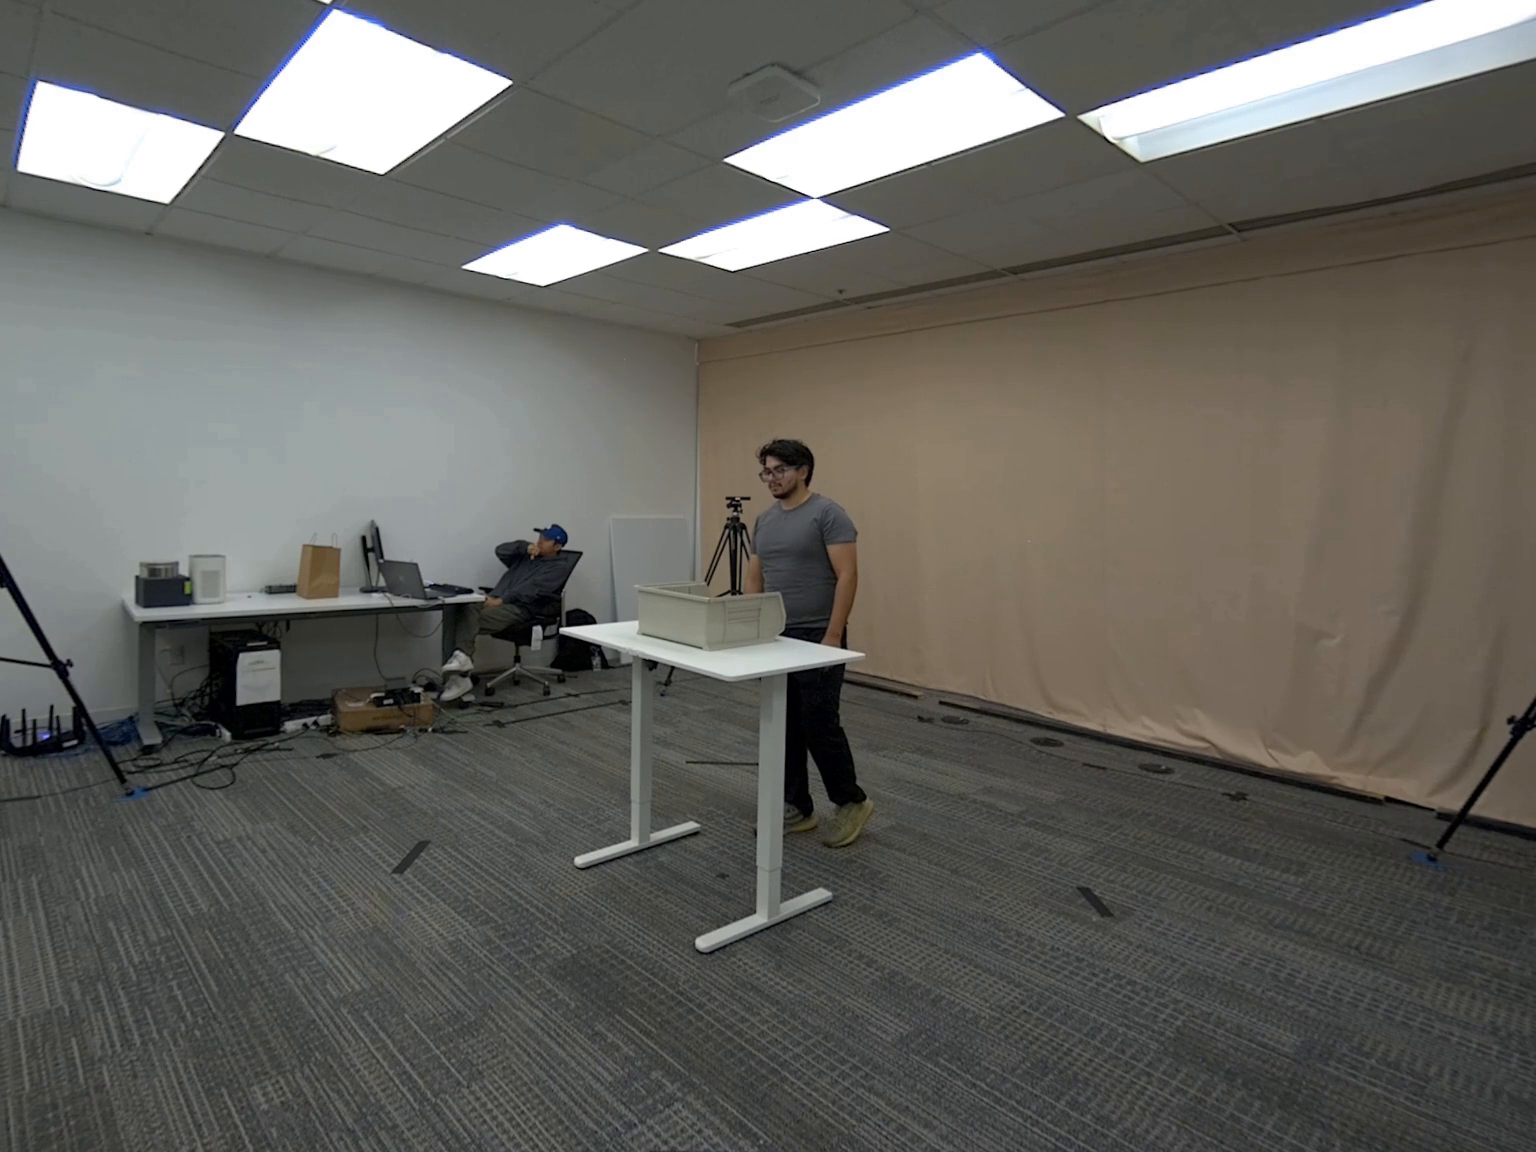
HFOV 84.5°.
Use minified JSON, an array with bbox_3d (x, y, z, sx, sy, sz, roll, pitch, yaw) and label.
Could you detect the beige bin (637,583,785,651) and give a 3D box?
[{"bbox_3d":[-0.218,0.137,3.057,0.369,0.188,0.433,-5,9,-43],"label":"beige bin"}]
